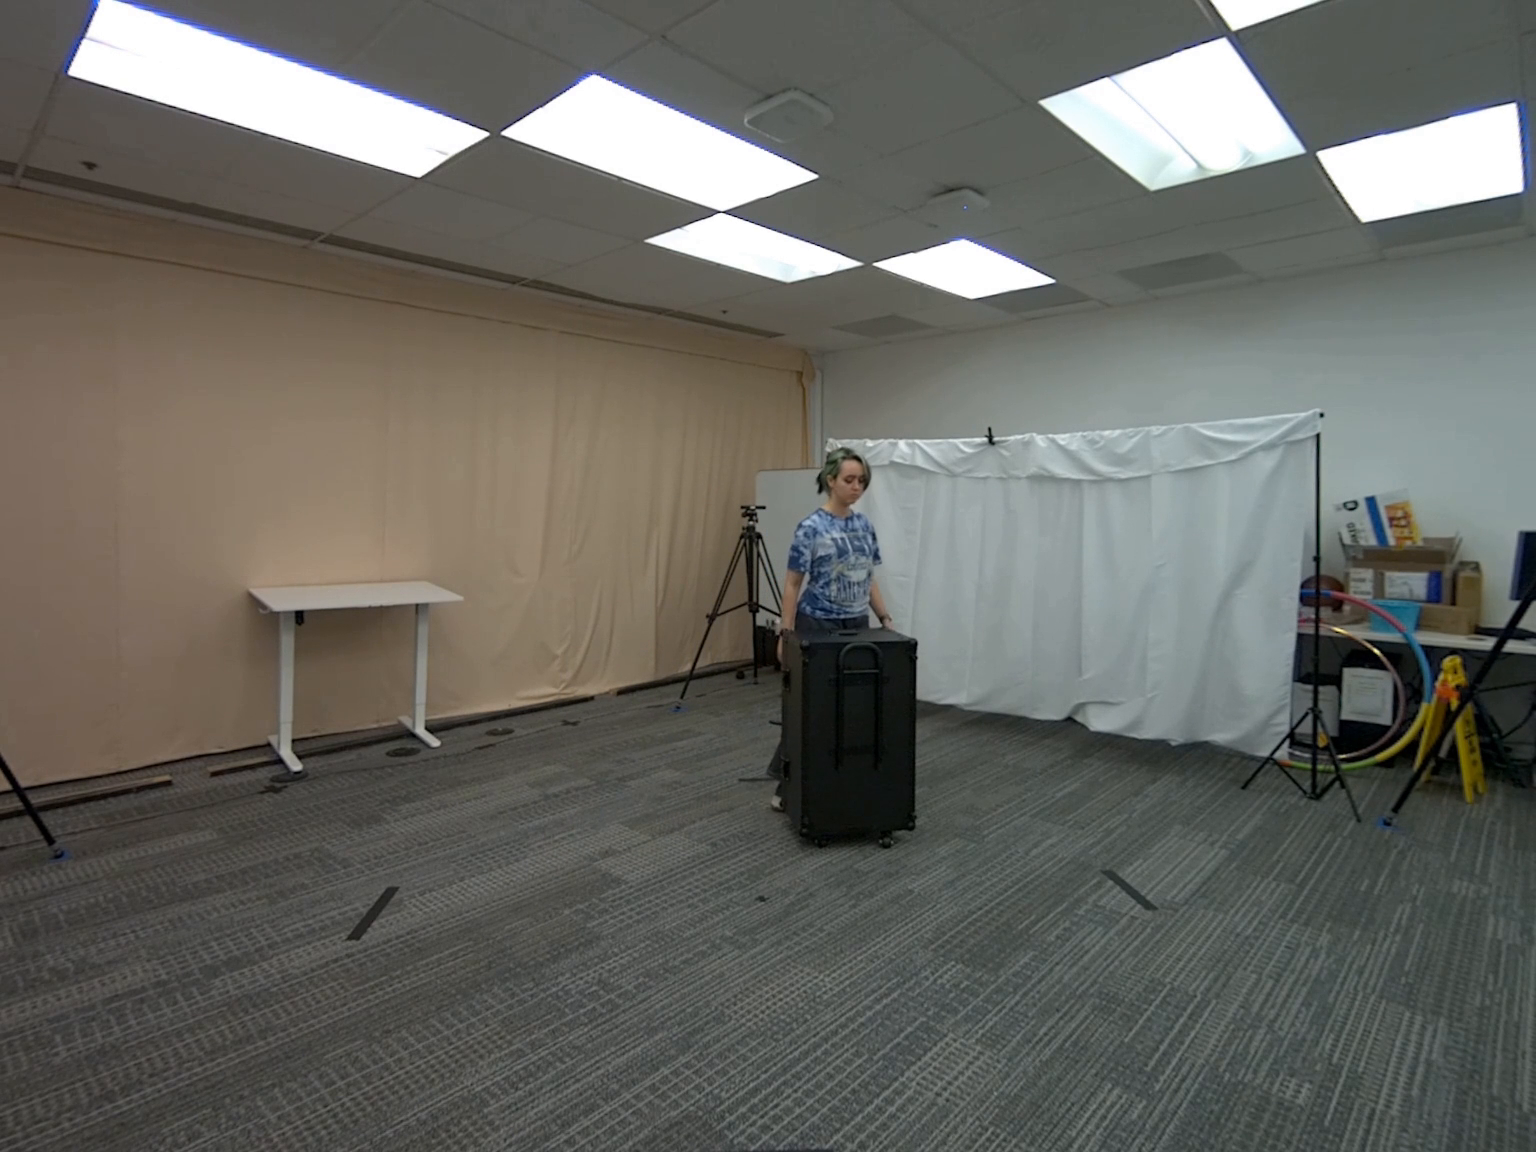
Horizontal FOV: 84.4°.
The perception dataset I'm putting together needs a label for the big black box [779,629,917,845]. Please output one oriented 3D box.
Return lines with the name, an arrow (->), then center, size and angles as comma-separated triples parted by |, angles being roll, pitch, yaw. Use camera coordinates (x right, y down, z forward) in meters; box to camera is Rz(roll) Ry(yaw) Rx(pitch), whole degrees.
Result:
big black box -> 0.339, 0.673, 3.543 | 0.516, 0.859, 0.401 | 0, 4, -10
